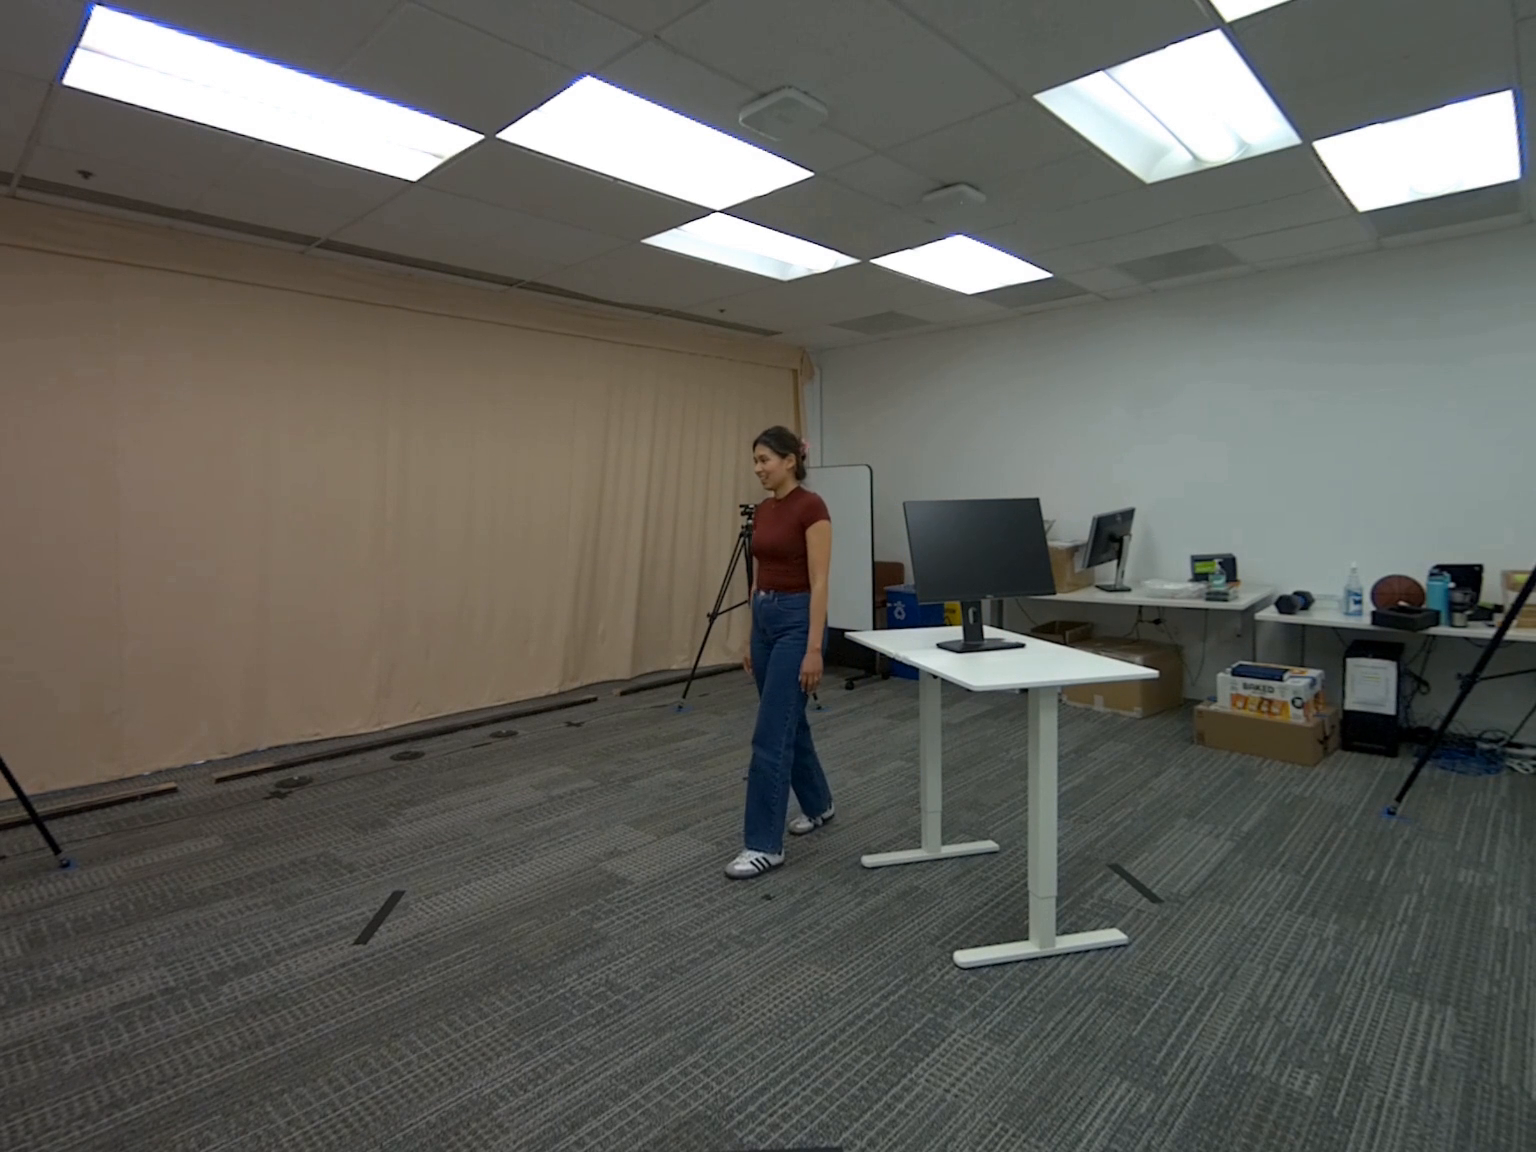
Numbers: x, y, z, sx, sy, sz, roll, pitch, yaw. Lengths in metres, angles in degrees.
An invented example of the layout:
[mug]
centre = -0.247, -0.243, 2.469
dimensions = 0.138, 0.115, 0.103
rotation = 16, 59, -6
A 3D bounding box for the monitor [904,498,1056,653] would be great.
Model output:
[monitor]
centre = 0.734, -0.005, 2.937
dimensions = 0.529, 0.522, 0.191
rotation = -3, 2, -18
